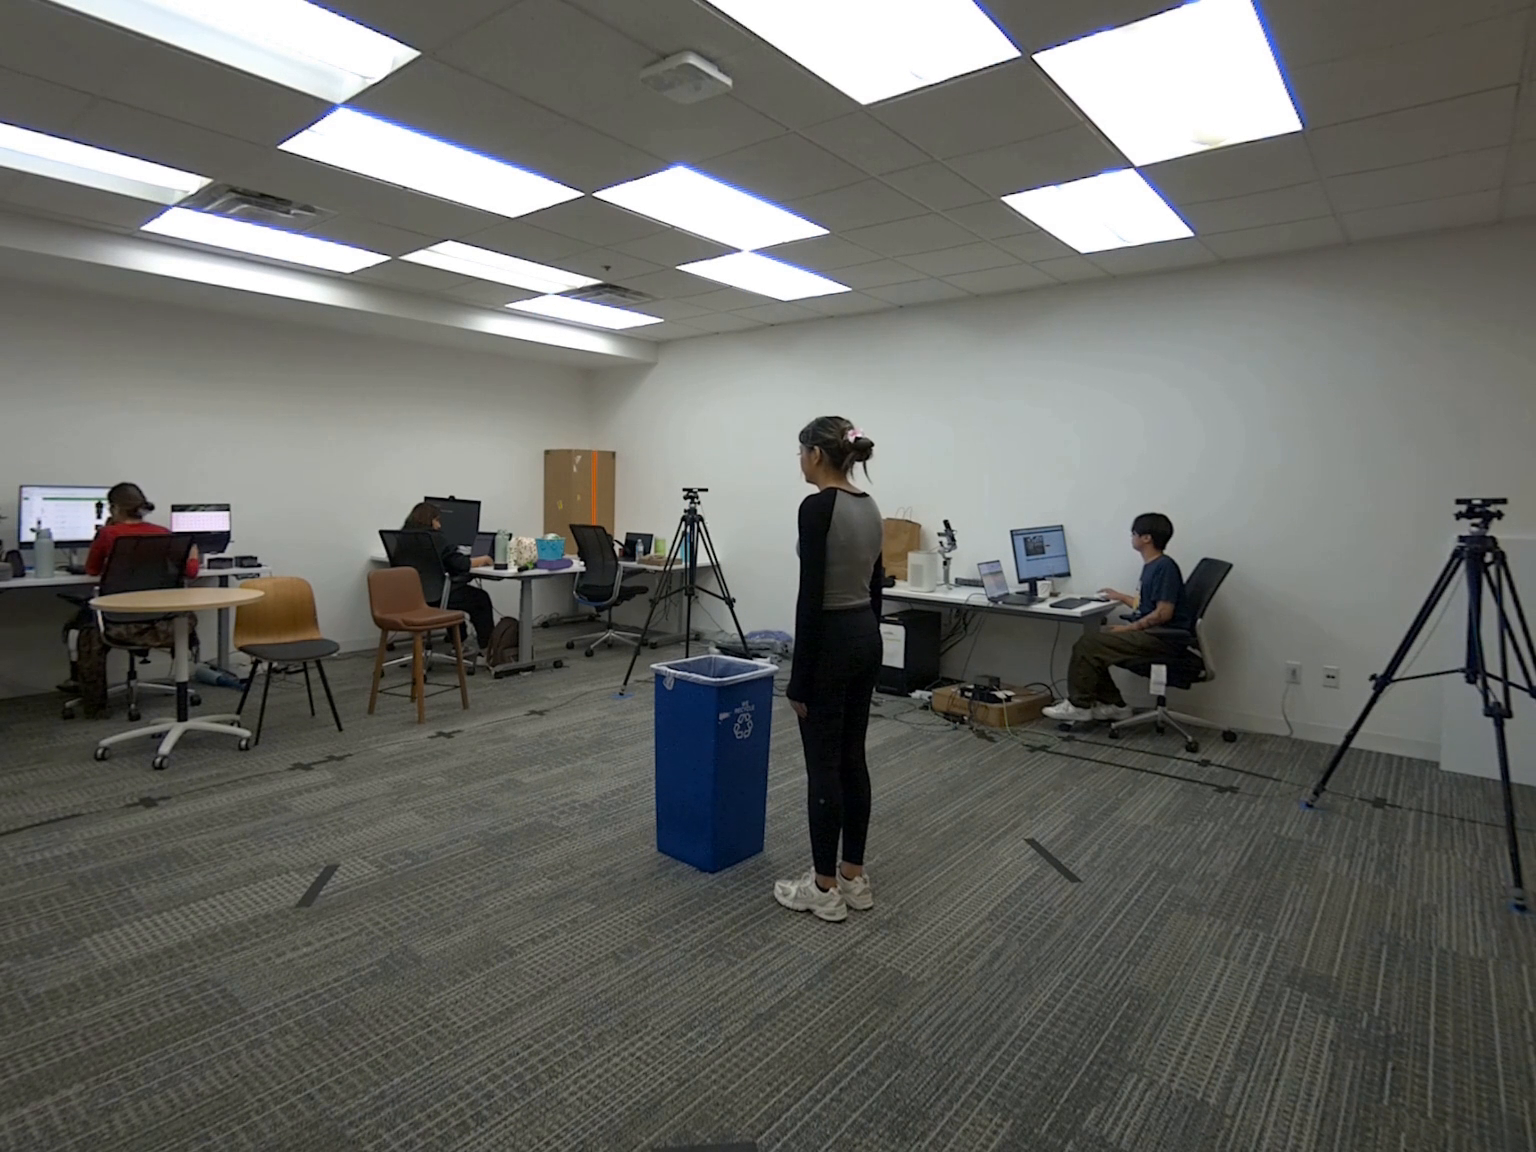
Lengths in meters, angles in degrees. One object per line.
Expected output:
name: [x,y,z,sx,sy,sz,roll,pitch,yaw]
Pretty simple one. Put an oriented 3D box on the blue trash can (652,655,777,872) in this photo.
blue trash can: [-0.222,0.696,3.267,0.391,0.711,0.363,4,4,40]
